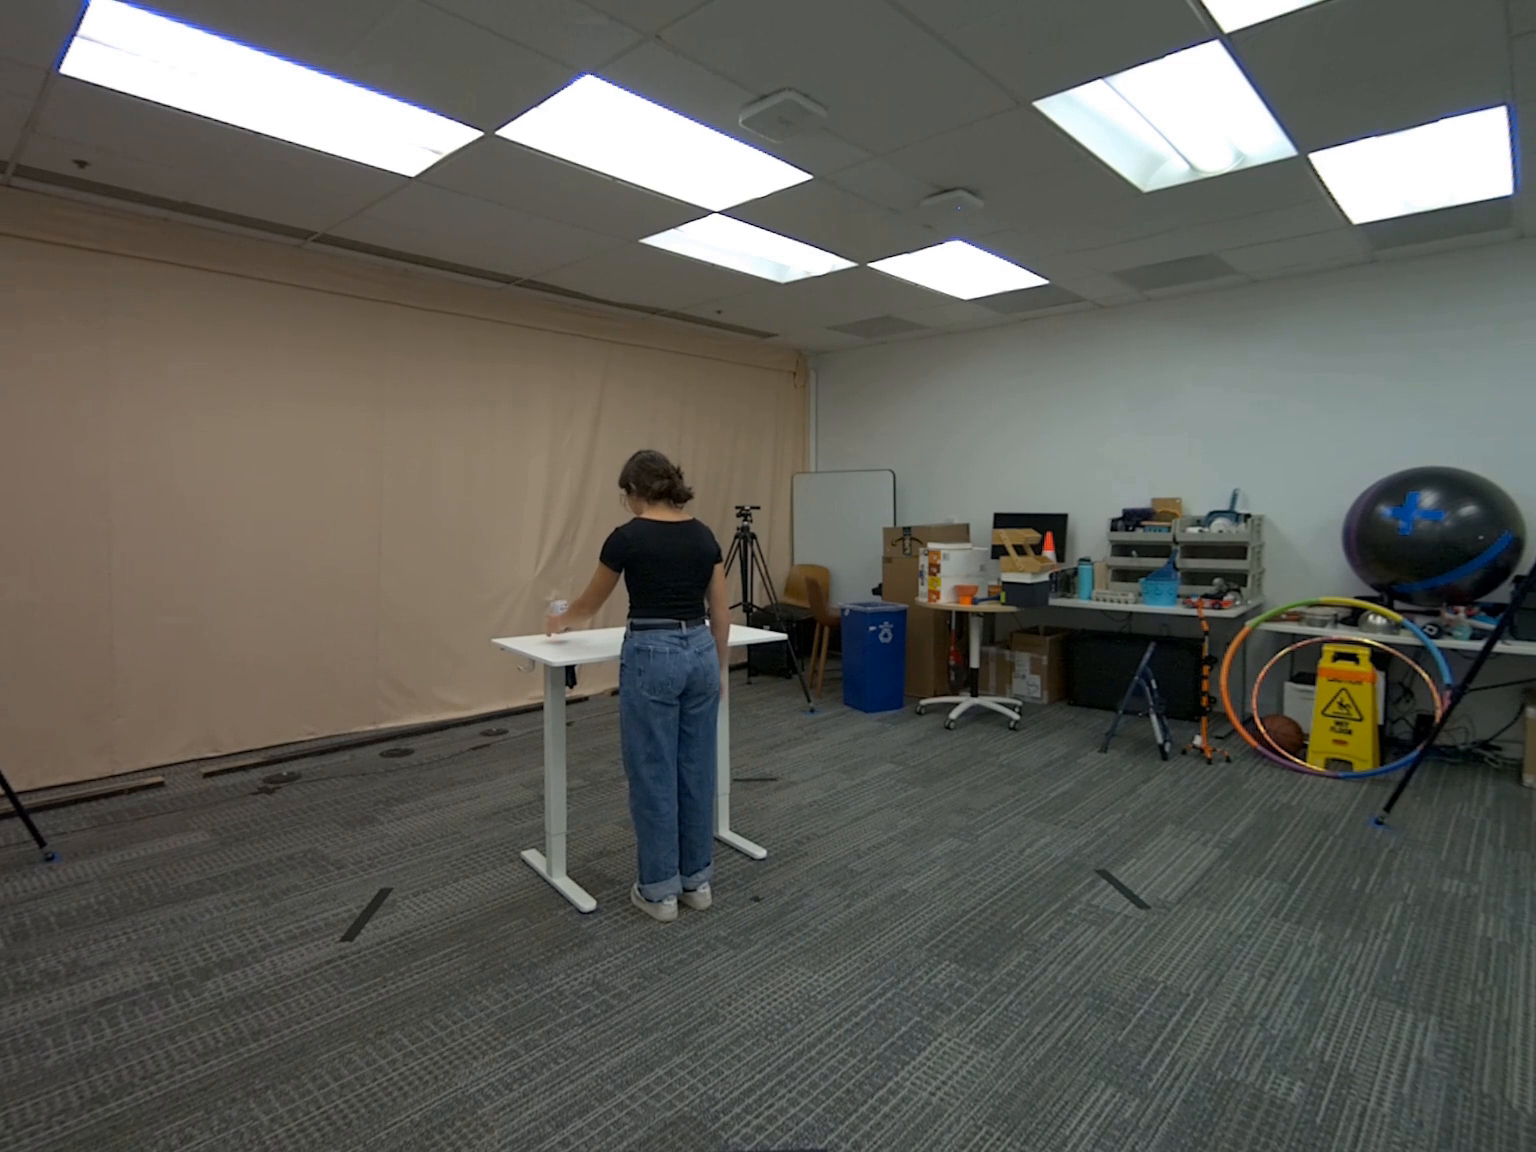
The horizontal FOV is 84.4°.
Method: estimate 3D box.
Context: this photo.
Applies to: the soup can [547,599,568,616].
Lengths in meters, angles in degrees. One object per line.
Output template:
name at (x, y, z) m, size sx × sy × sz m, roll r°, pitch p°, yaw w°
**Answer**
soup can at (-0.786, 0.157, 3.199) m, size 0.067 × 0.122 × 0.067 m, roll -9°, pitch -7°, yaw -3°
